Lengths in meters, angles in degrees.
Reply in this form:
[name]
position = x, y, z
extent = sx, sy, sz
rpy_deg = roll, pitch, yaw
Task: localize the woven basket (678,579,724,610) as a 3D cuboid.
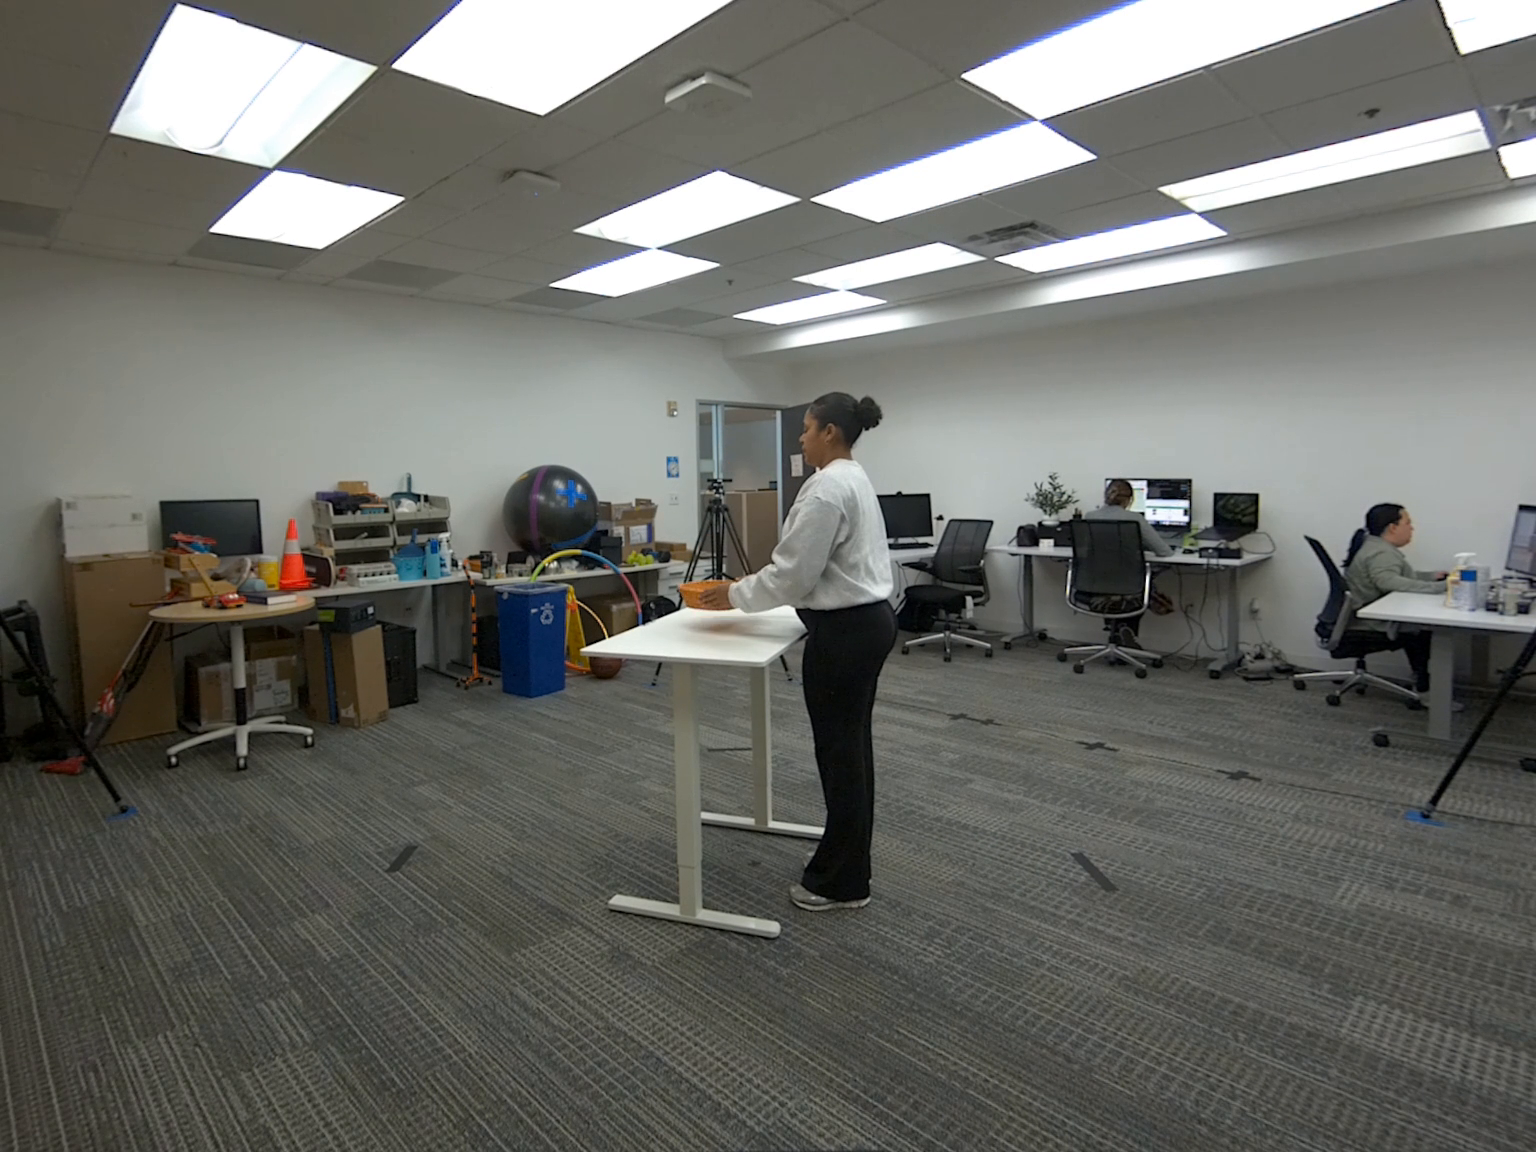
[woven basket]
position = -0.130, 0.047, 2.996
extent = 0.260, 0.073, 0.341
rpy_deg = 7, 8, 35
